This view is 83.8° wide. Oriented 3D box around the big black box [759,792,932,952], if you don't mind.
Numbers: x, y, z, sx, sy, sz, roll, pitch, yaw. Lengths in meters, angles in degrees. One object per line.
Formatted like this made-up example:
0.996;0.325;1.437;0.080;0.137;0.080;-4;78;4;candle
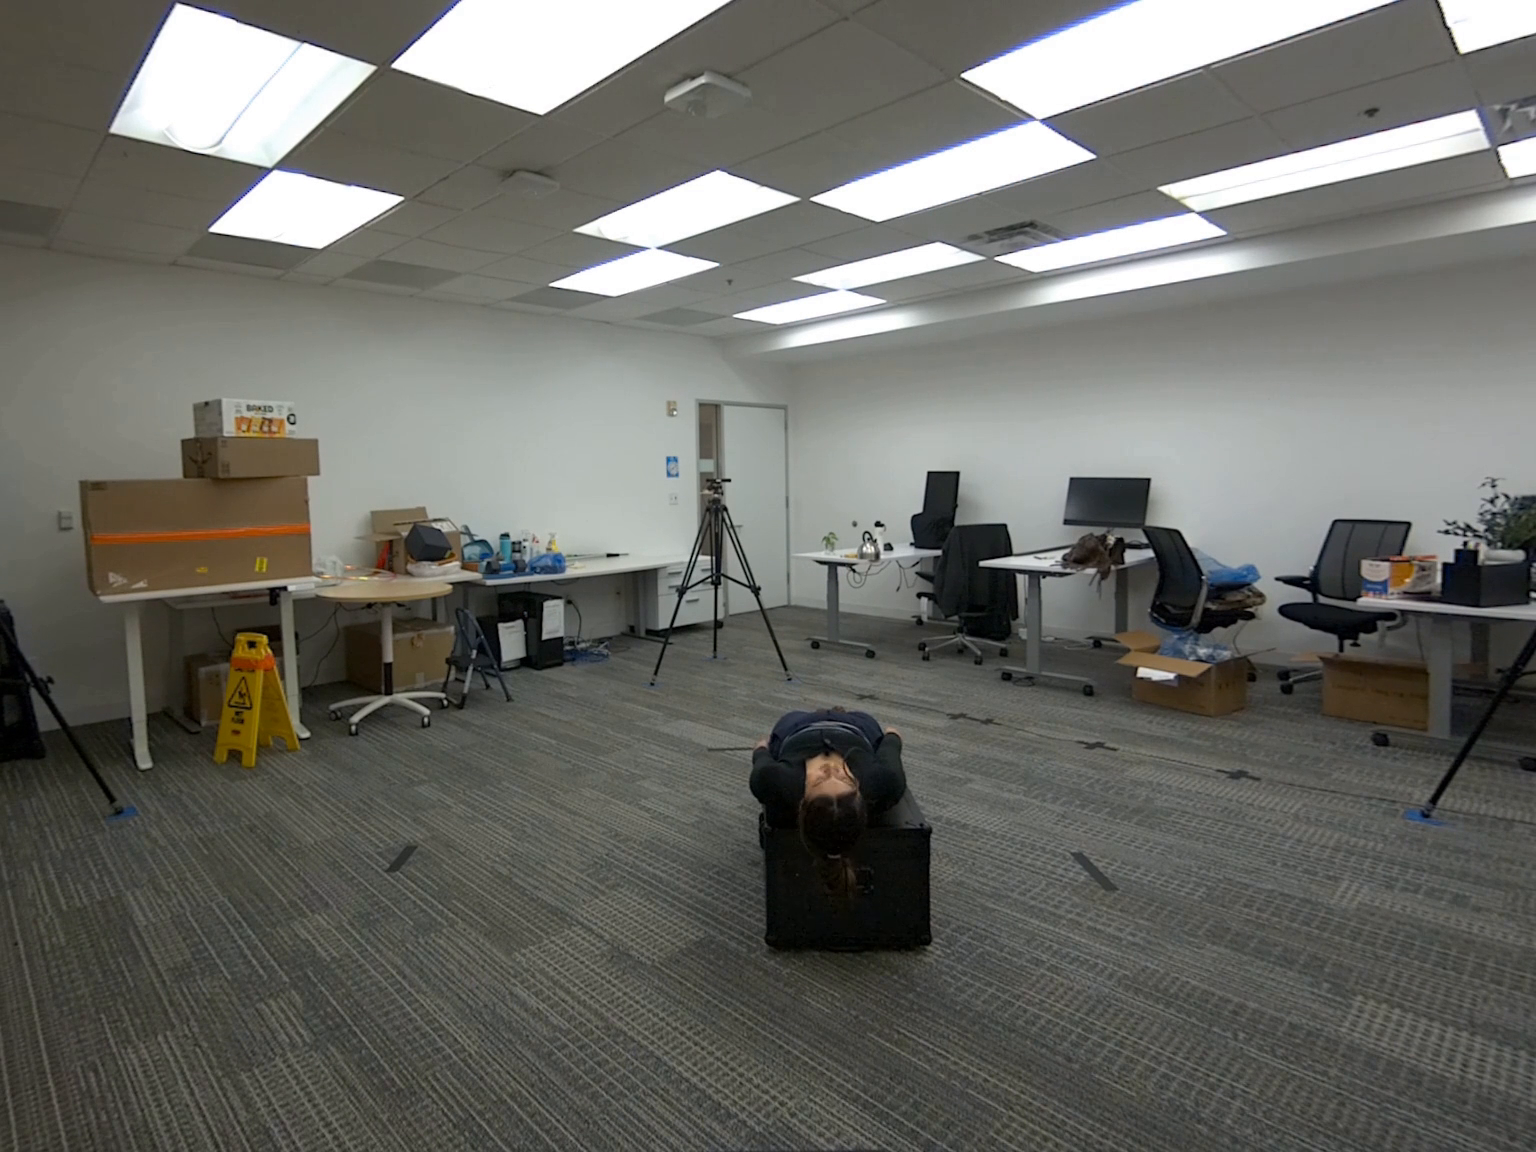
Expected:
0.227;0.865;2.914;0.521;0.394;0.866;-2;6;-1;big black box
